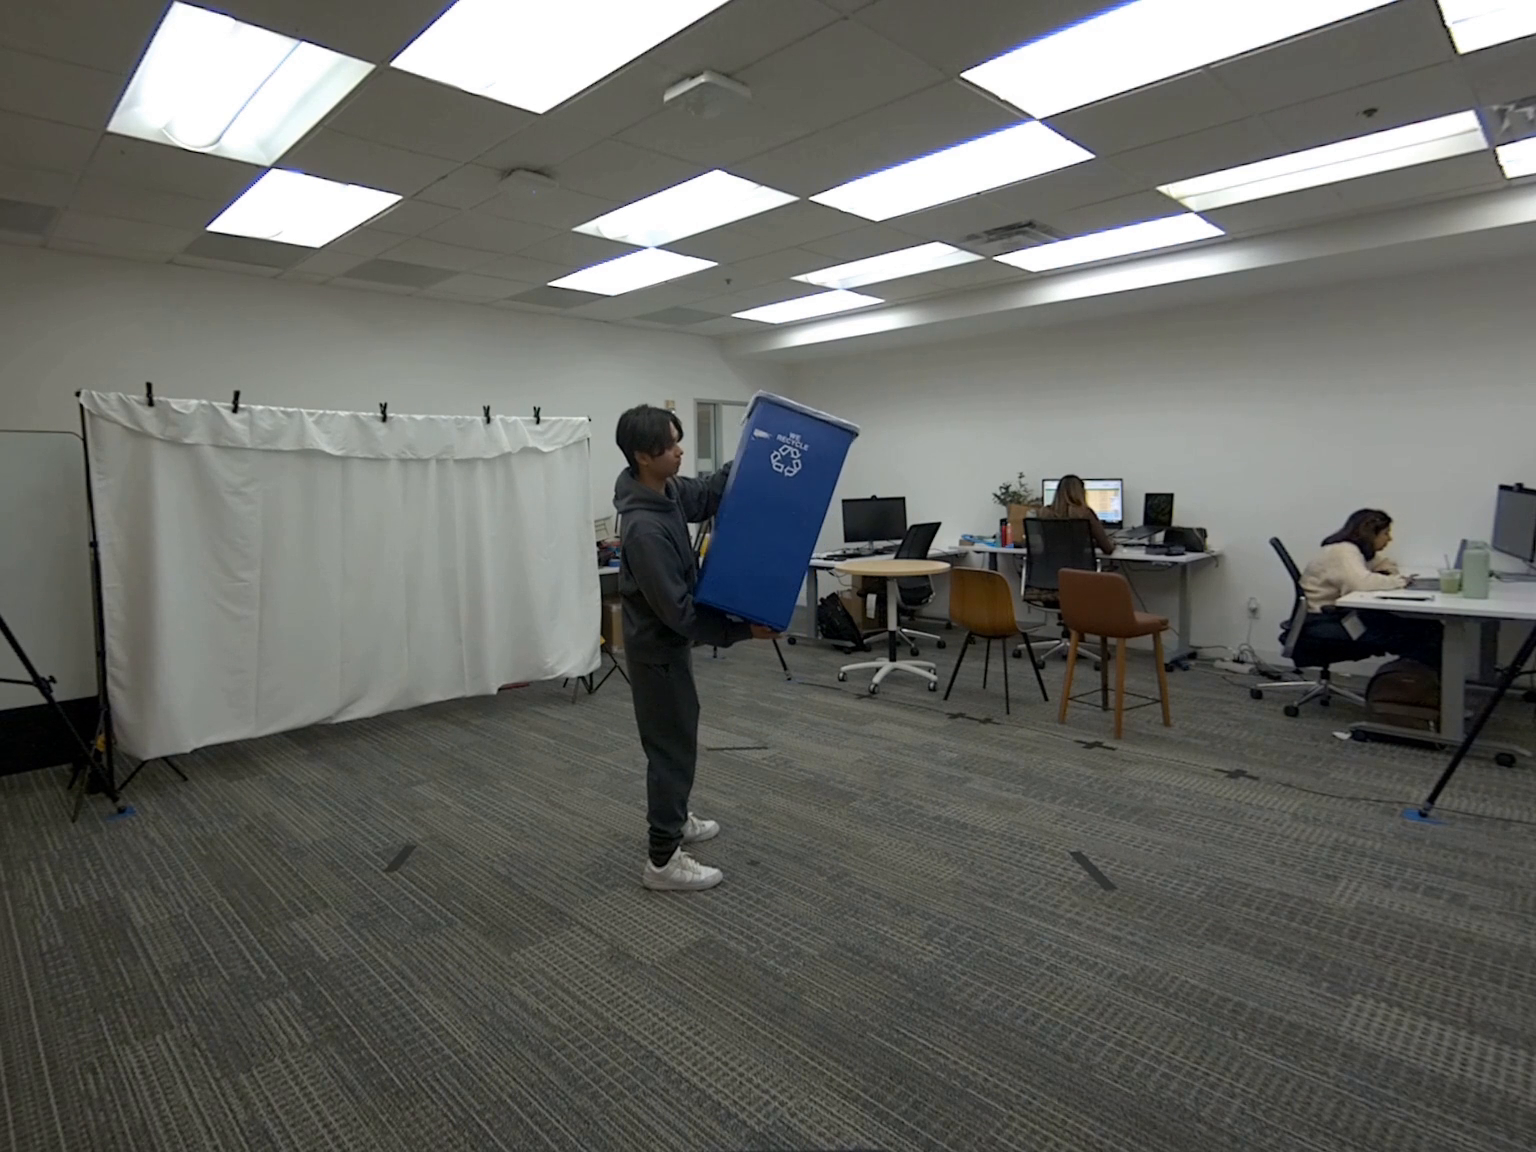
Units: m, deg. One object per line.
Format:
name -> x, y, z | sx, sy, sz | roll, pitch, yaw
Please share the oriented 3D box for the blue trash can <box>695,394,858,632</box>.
blue trash can -> 0.006, -0.197, 2.893 | 0.373, 0.718, 0.377 | 18, -10, -4
